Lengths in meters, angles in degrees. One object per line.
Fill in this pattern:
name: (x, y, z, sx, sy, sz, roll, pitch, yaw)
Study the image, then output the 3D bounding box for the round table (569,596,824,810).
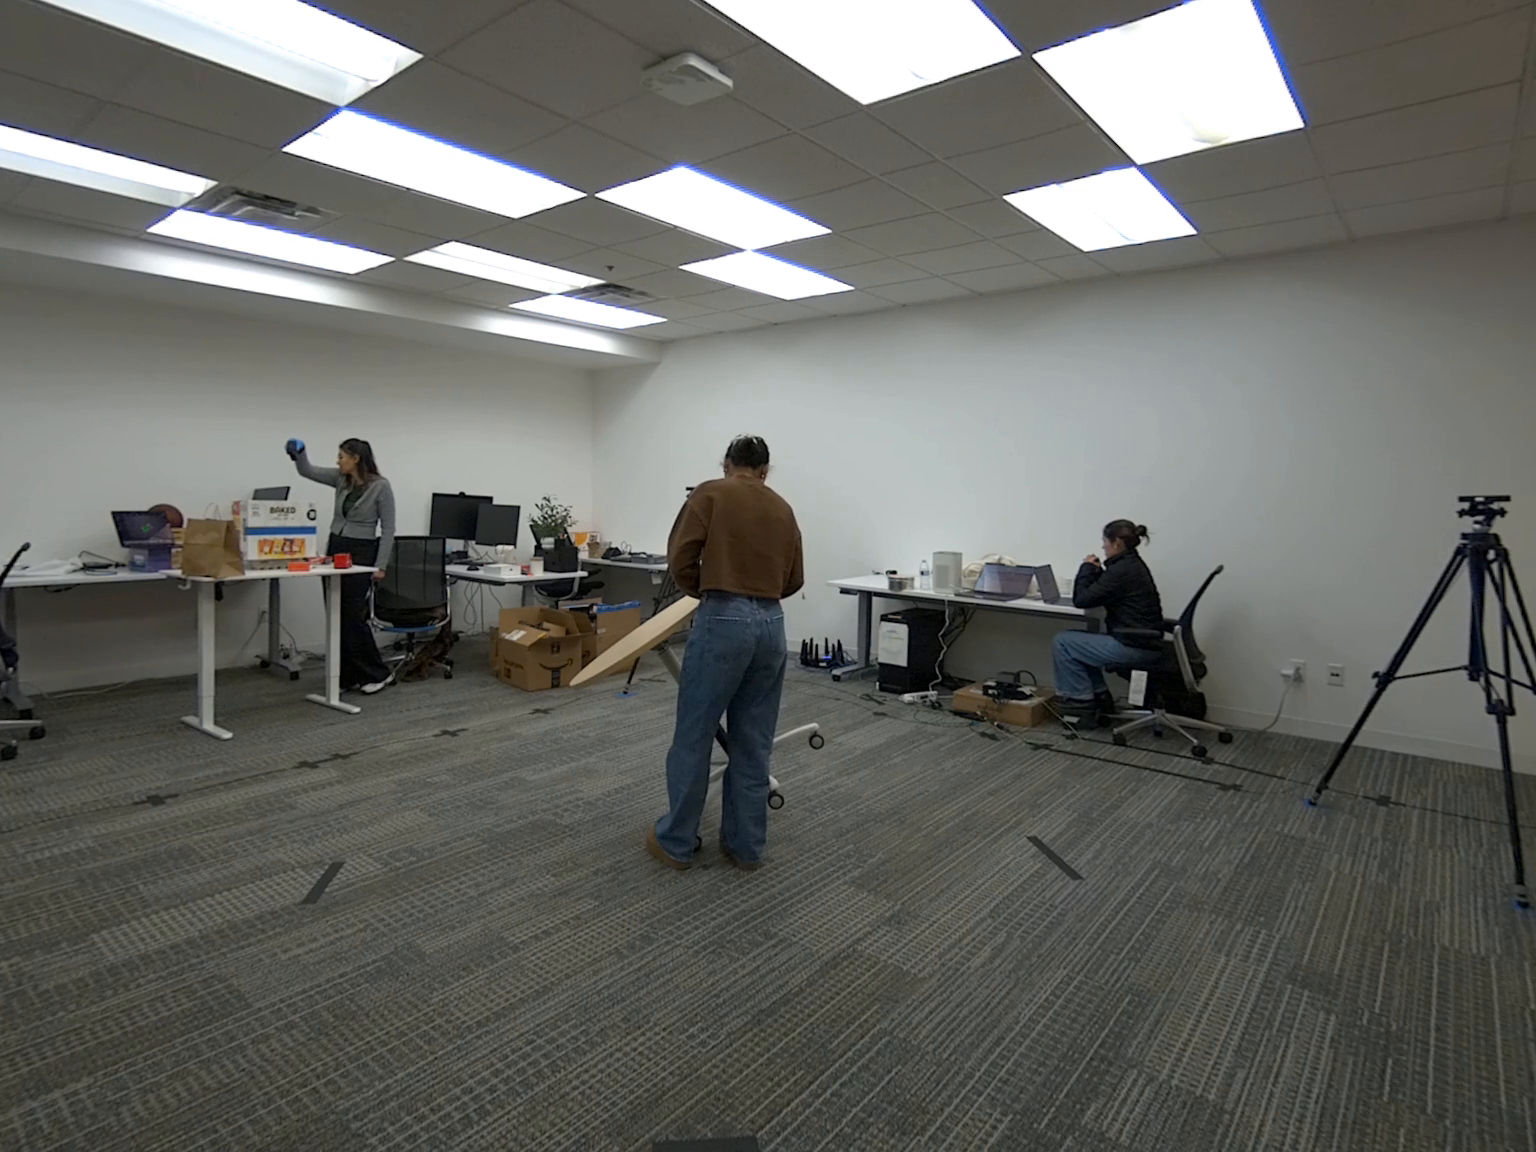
round table: (-0.269, 0.542, 3.471, 0.764, 0.790, 0.768, -34, 5, 1)
